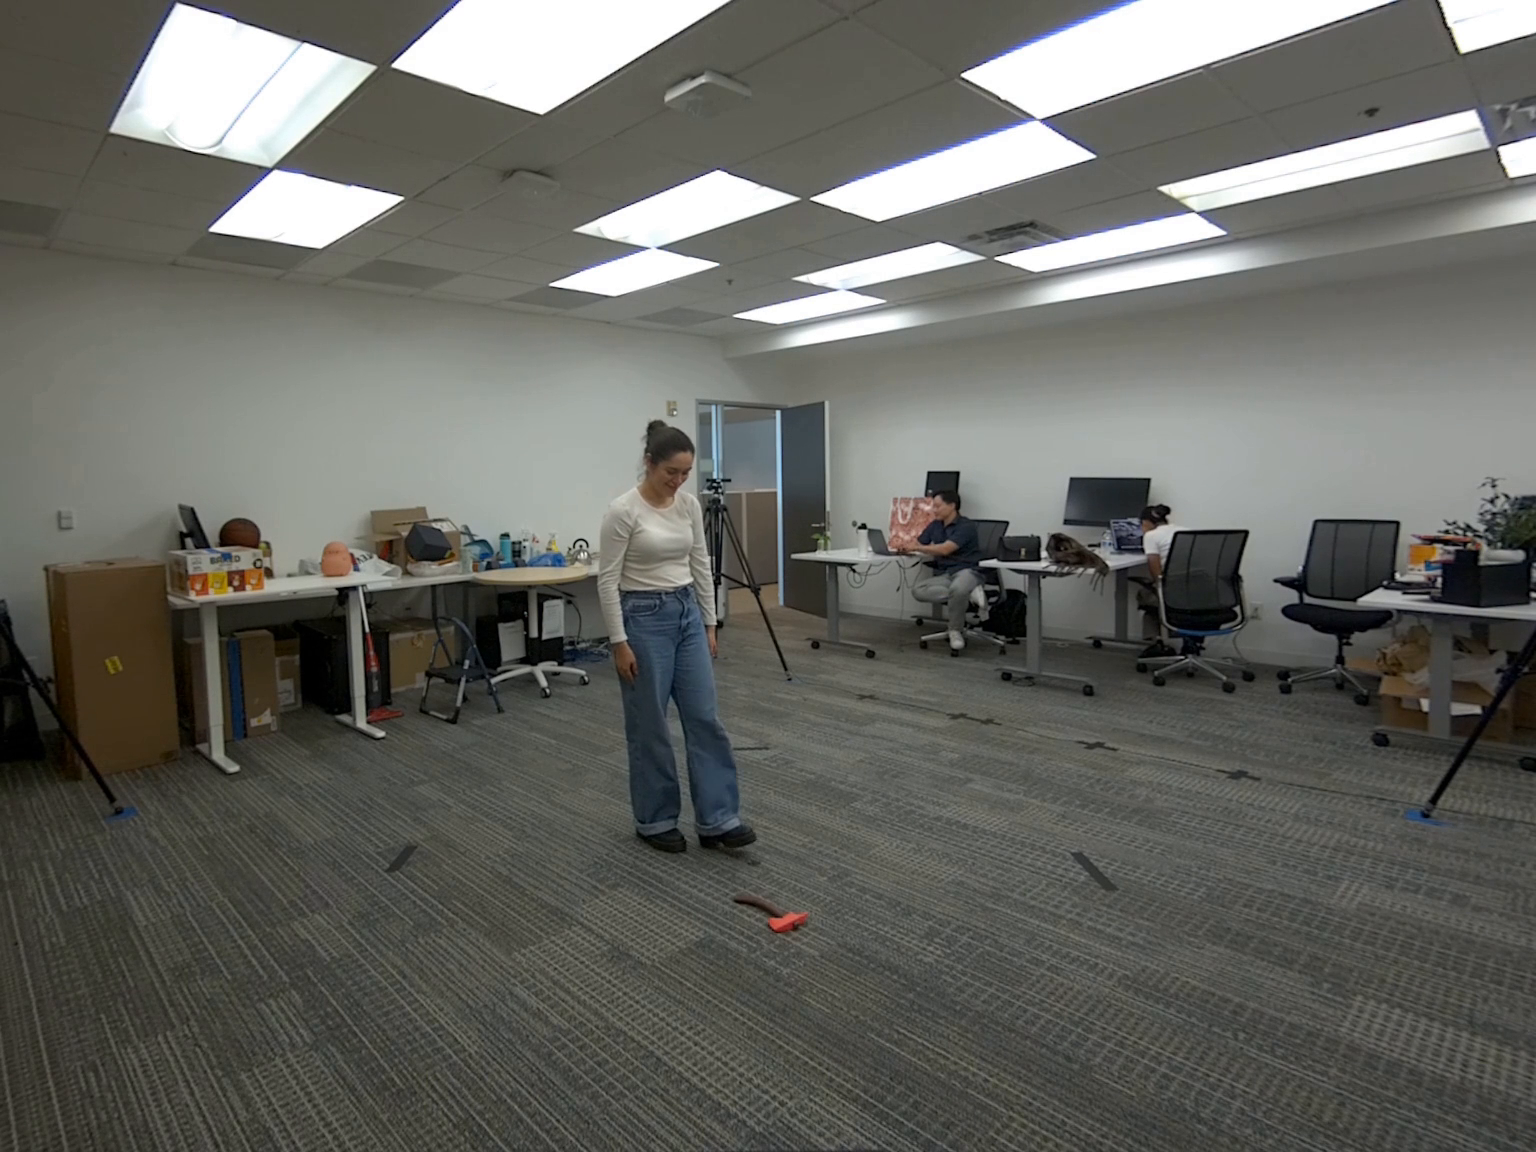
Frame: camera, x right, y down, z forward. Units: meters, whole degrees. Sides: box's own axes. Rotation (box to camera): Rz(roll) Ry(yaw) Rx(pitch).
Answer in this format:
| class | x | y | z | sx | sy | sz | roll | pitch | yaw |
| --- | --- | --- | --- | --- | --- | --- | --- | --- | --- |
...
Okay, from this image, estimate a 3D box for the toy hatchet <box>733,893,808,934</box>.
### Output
| class | x | y | z | sx | sy | sz | roll | pitch | yaw |
| --- | --- | --- | --- | --- | --- | --- | --- | --- | --- |
| toy hatchet | -0.013 | 1.077 | 2.723 | 0.278 | 0.029 | 0.128 | 2 | 11 | 36 |
